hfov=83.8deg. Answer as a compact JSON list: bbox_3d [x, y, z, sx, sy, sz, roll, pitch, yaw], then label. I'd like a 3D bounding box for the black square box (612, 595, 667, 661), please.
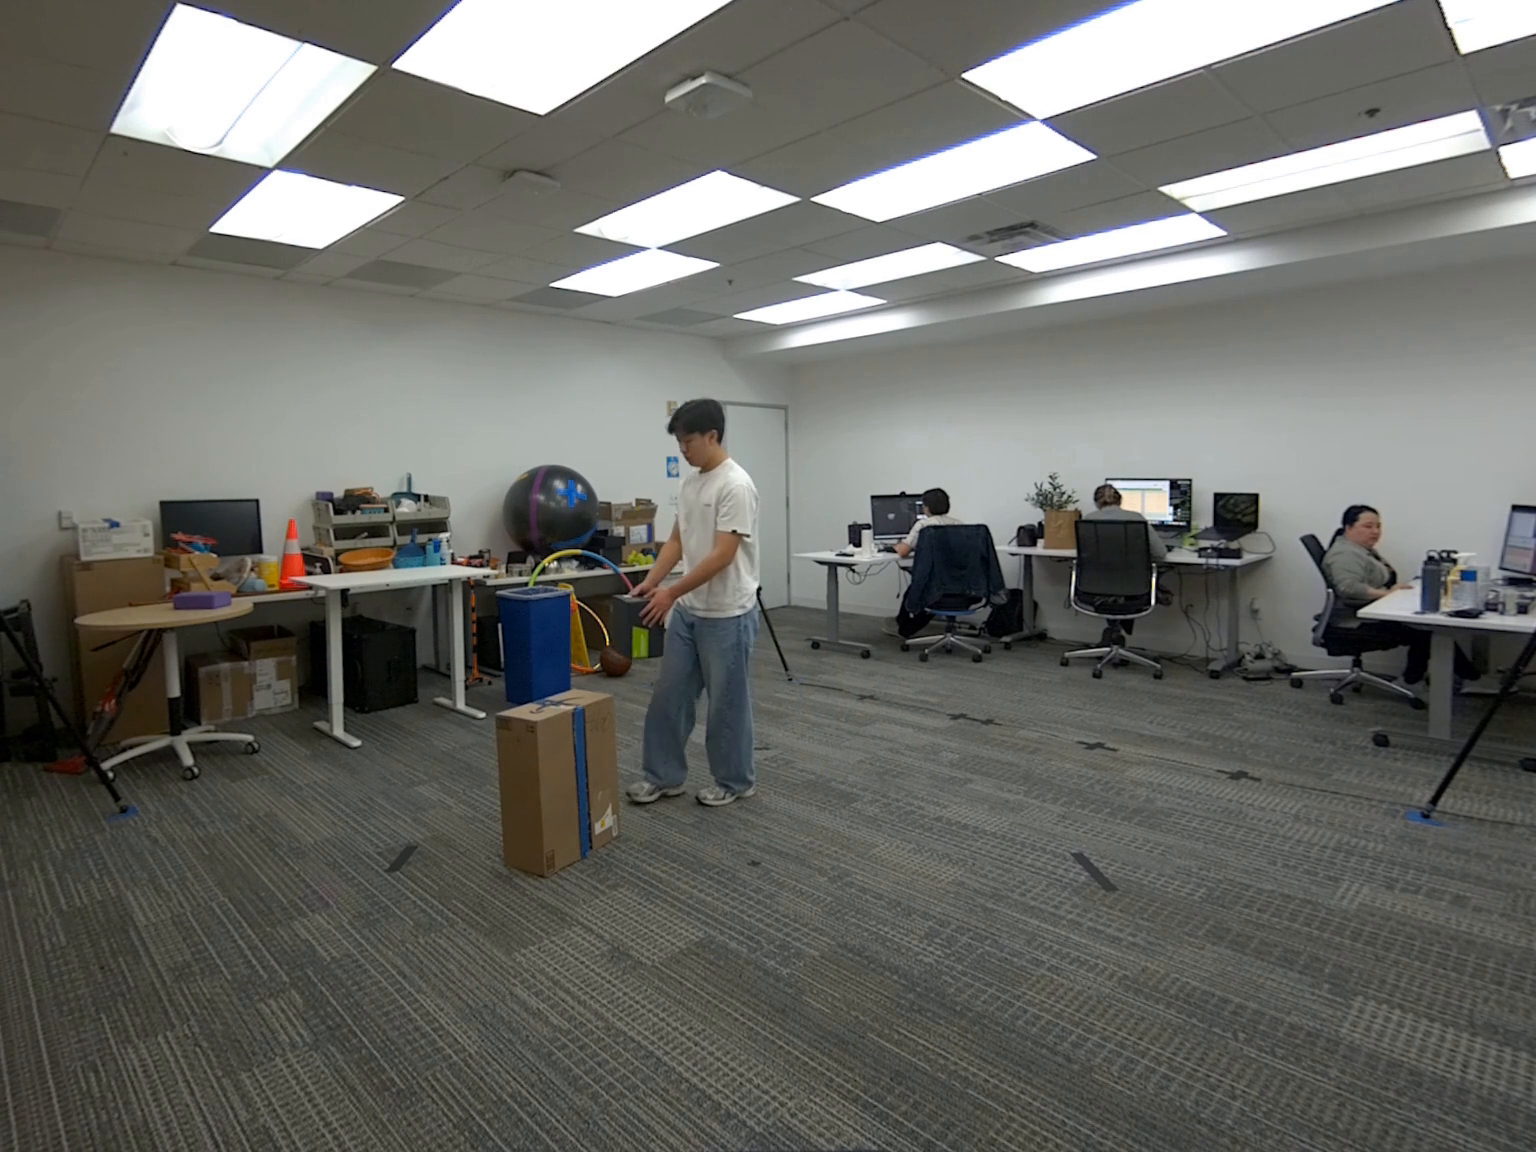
[{"bbox_3d":[-0.533,0.205,3.519,0.152,0.227,0.223,-1,5,-26],"label":"black square box"}]
